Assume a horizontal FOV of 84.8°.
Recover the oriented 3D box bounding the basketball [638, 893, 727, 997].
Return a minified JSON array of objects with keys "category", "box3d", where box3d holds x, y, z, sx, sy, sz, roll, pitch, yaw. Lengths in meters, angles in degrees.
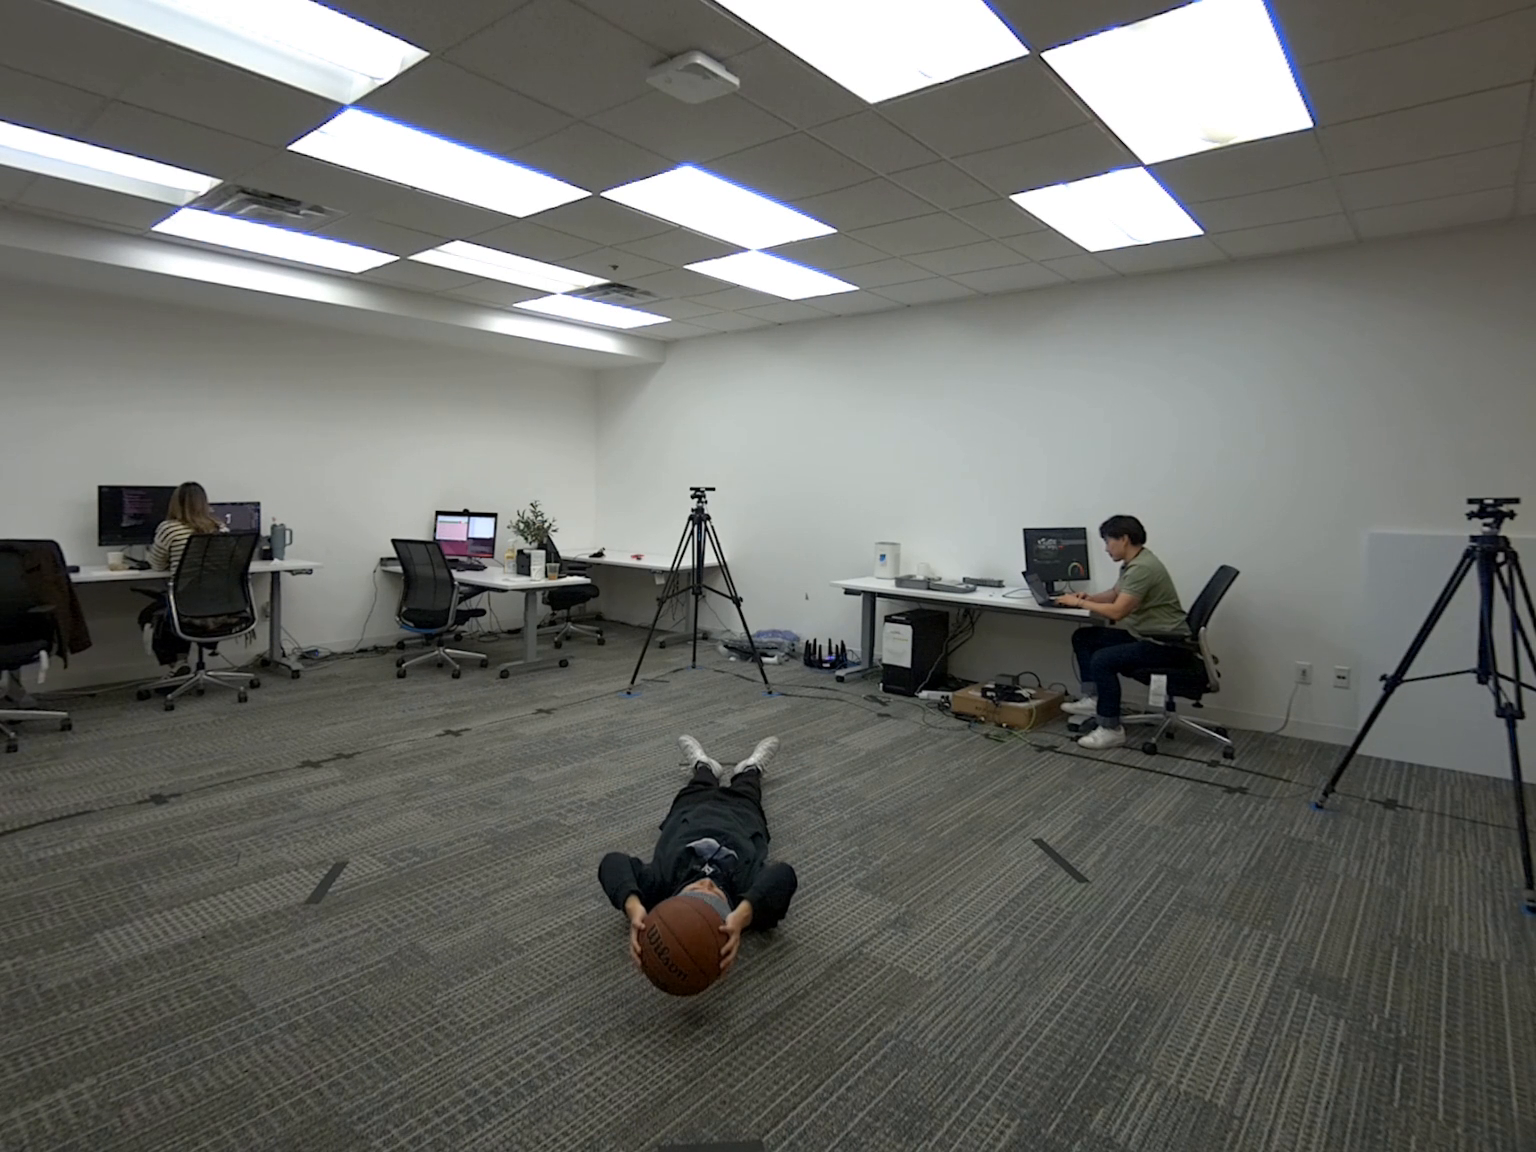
[{"category":"basketball","box3d":[-0.233,0.966,2.243,0.235,0.235,0.237,1,4,-2]}]
